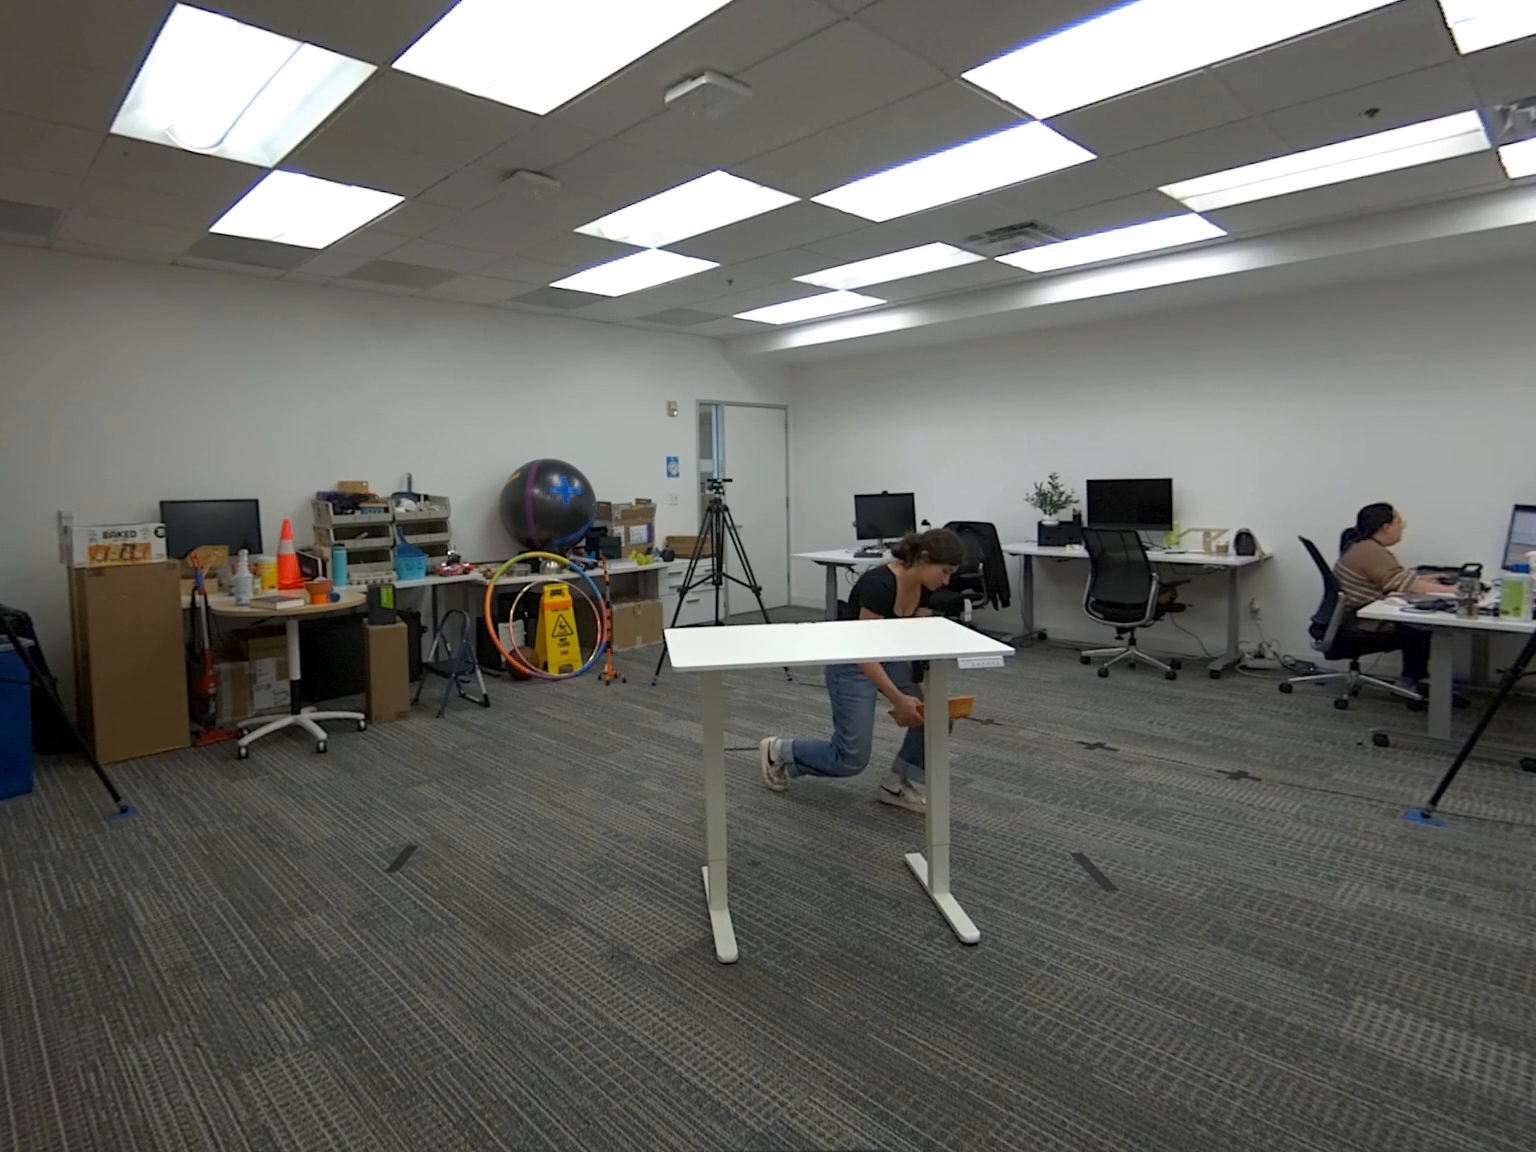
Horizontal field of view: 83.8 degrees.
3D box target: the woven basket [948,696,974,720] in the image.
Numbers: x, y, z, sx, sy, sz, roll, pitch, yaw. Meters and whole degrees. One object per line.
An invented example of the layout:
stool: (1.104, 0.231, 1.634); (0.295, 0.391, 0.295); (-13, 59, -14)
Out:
woven basket: (0.652, 0.543, 3.364); (0.356, 0.074, 0.244); (-21, -16, 40)
